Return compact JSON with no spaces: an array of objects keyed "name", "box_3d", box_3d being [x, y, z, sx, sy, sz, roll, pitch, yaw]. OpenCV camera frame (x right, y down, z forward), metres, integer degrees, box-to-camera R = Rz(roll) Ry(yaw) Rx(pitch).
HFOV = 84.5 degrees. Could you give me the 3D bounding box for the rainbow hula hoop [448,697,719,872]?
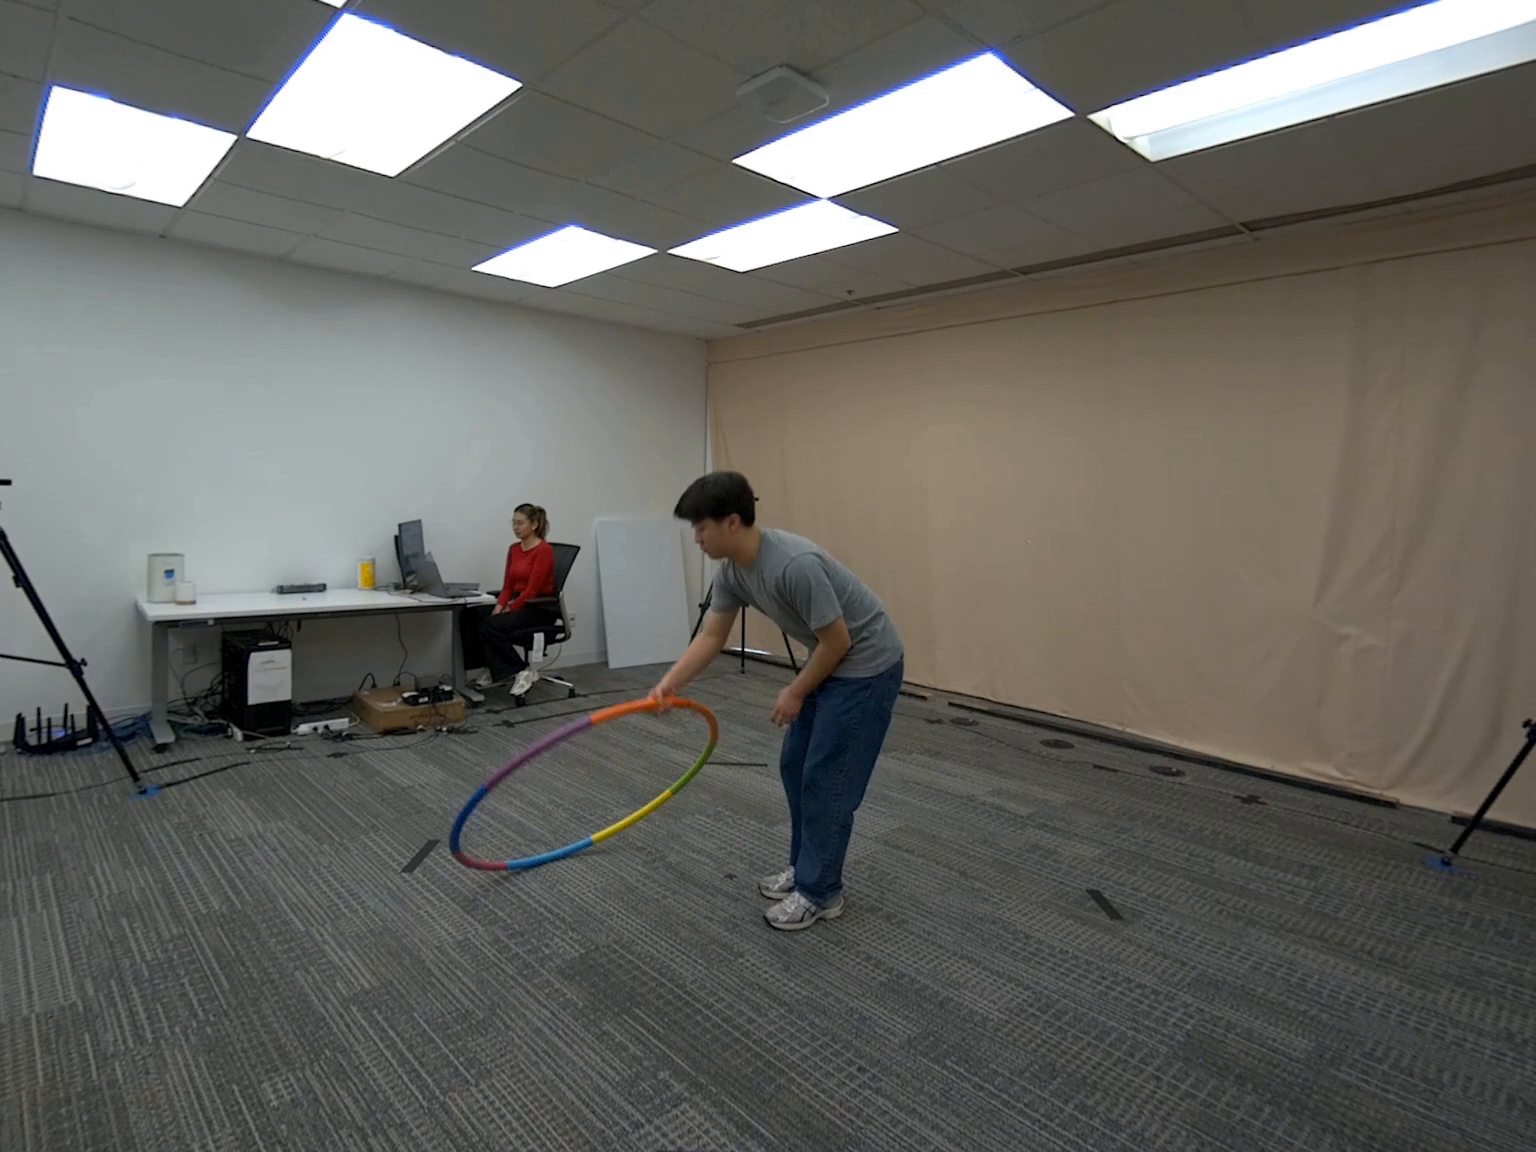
[{"name":"rainbow hula hoop","box_3d":[-0.608,0.735,2.912,0.956,0.974,0.036,-3,49,-42]}]
